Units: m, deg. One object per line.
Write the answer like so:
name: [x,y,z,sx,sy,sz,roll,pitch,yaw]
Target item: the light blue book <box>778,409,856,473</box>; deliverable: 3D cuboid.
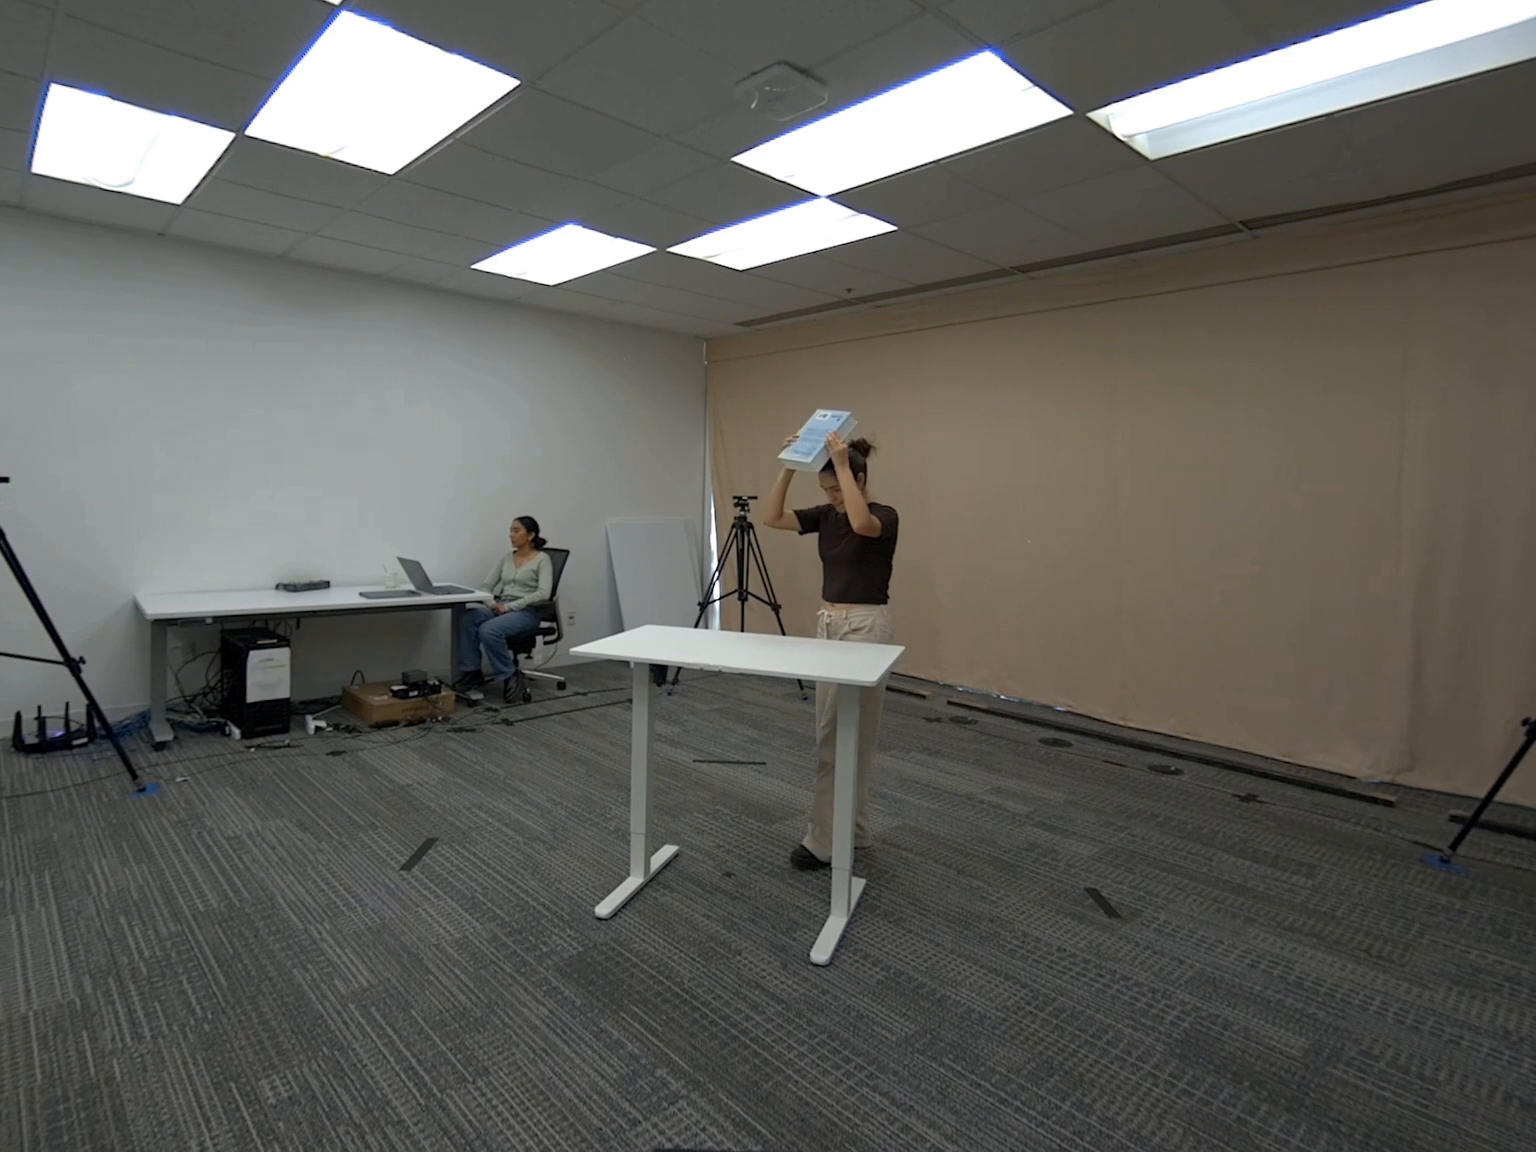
light blue book: [0.182,-0.495,3.123,0.197,0.261,0.057,17,-25,50]
